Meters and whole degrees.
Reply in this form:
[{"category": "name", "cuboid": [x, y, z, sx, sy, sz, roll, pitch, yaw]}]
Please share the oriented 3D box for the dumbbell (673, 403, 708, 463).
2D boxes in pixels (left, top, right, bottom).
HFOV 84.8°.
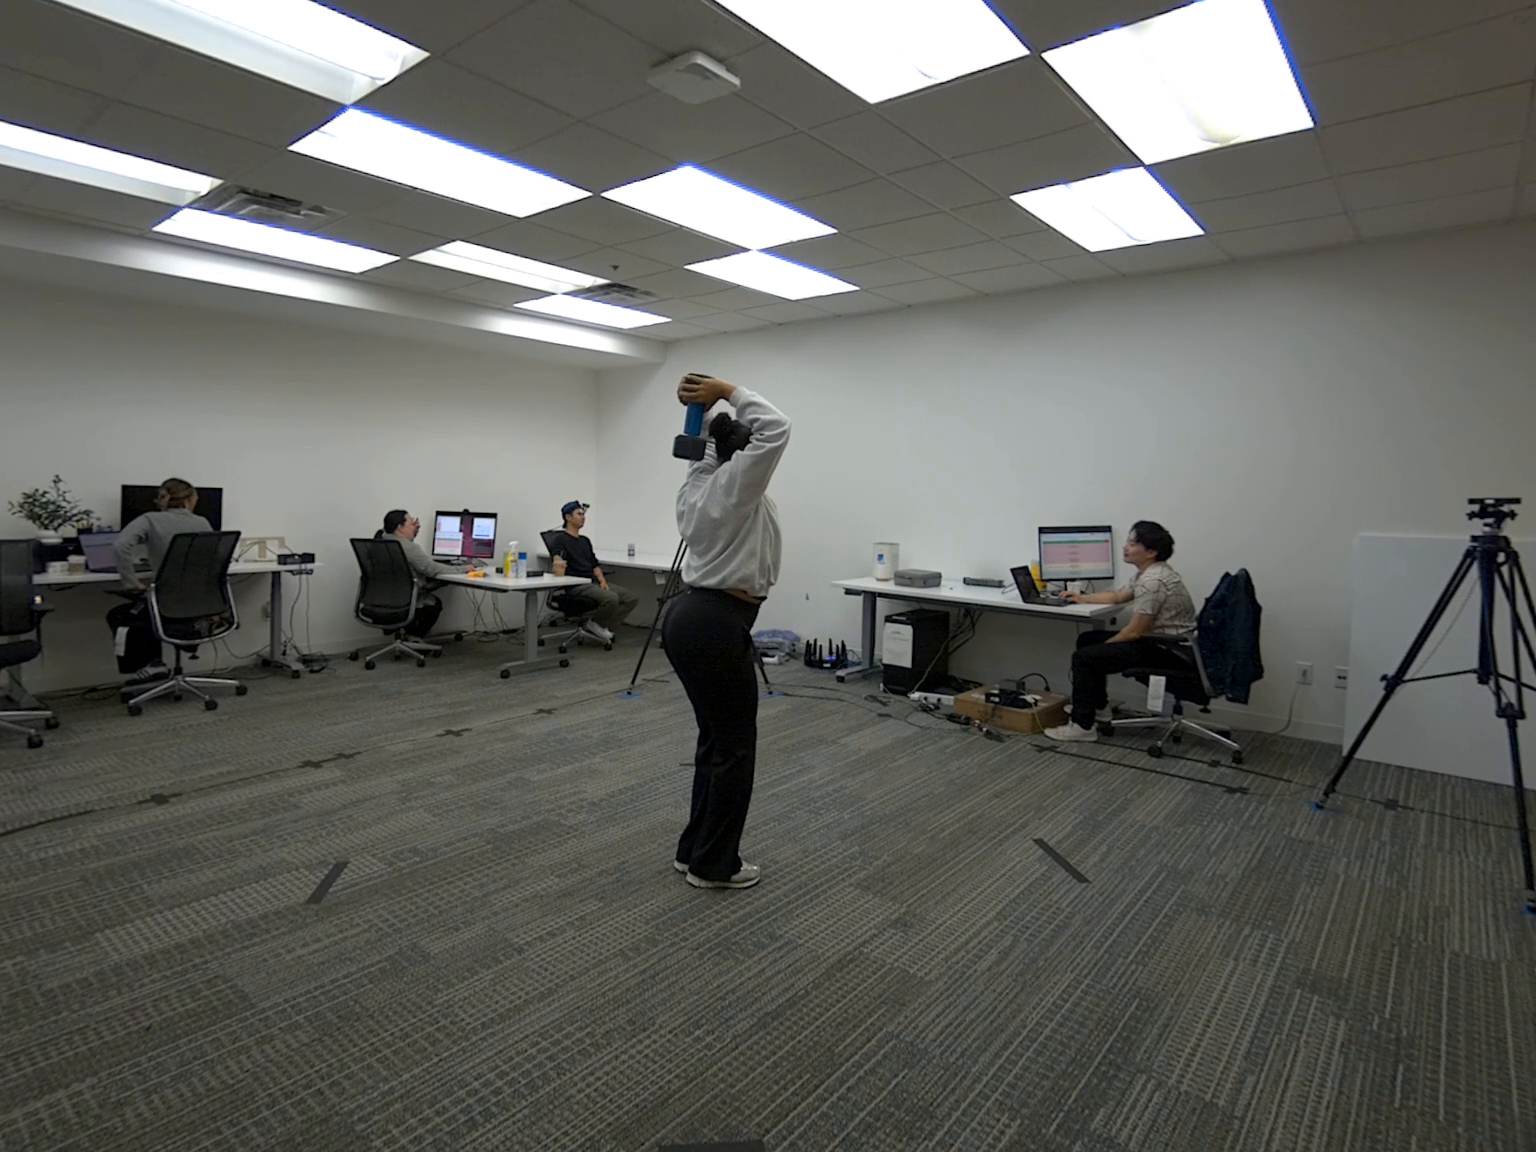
[{"category": "dumbbell", "cuboid": [-0.266, -0.554, 2.950, 0.125, 0.293, 0.107, 9, 3, 18]}]
